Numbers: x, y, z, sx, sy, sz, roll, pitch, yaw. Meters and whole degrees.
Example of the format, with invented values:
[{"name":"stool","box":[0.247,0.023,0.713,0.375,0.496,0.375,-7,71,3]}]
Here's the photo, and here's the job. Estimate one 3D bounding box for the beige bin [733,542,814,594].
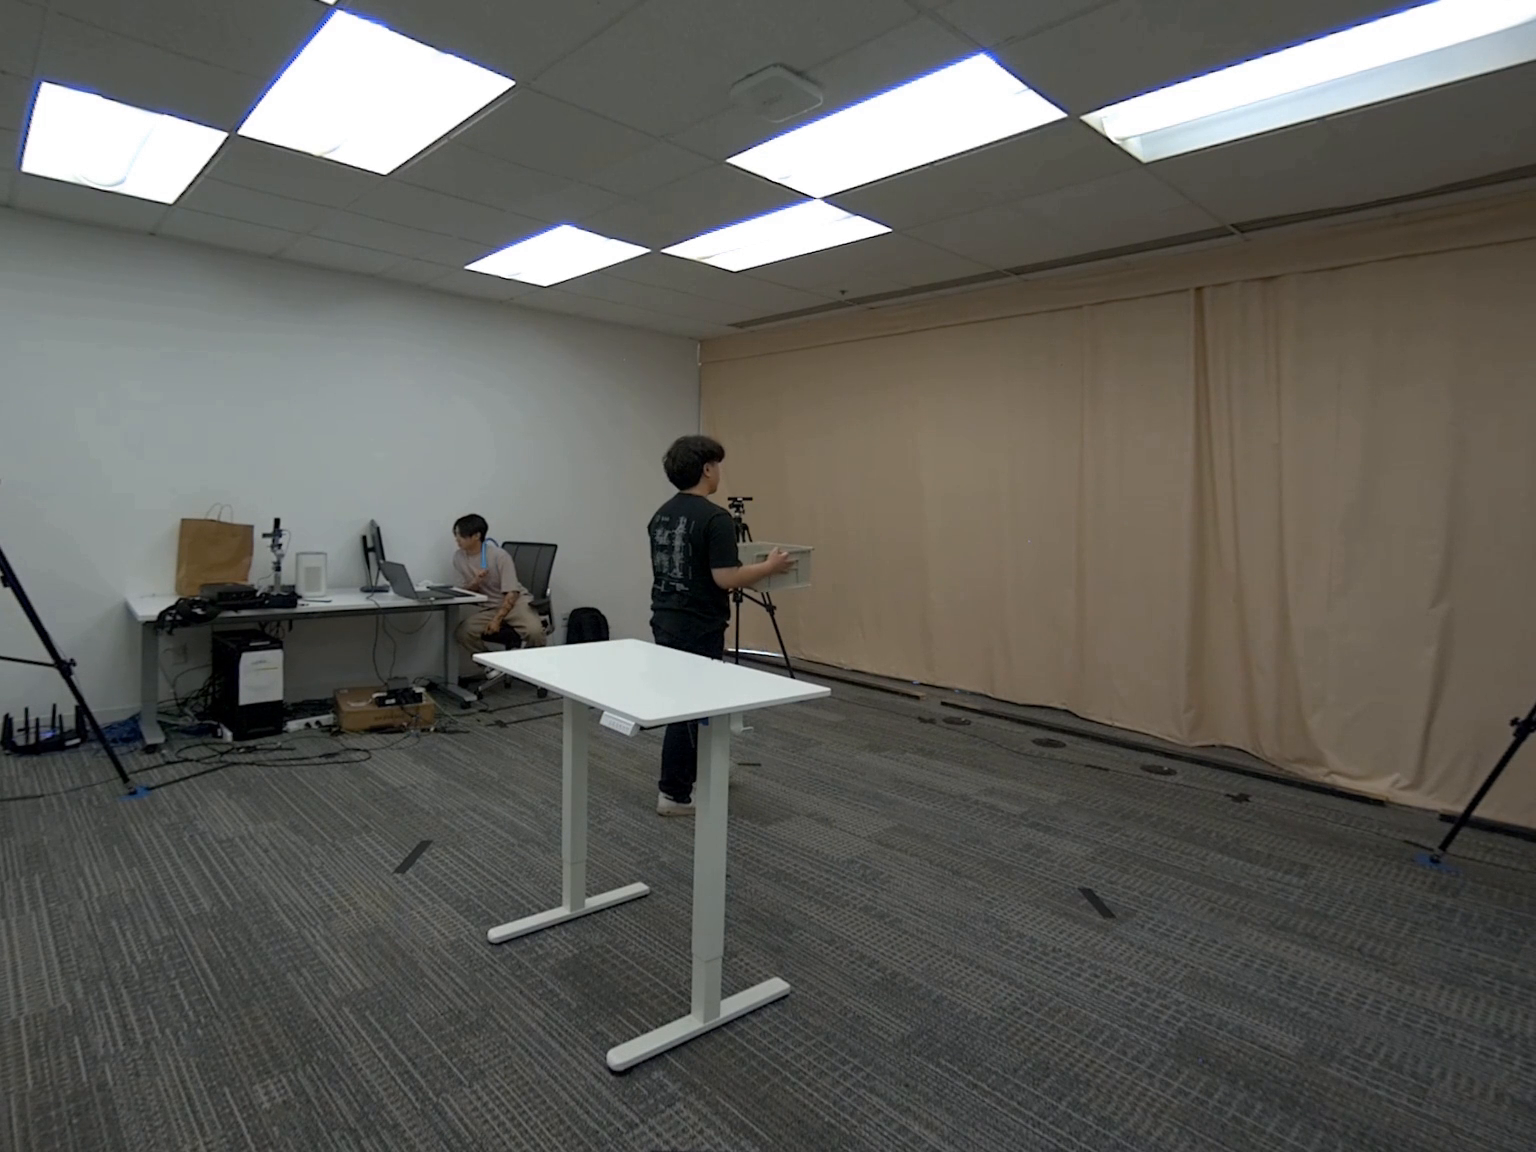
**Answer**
[{"name":"beige bin","box":[-0.074,-0.047,3.933,0.369,0.188,0.433,-3,7,-38]}]
